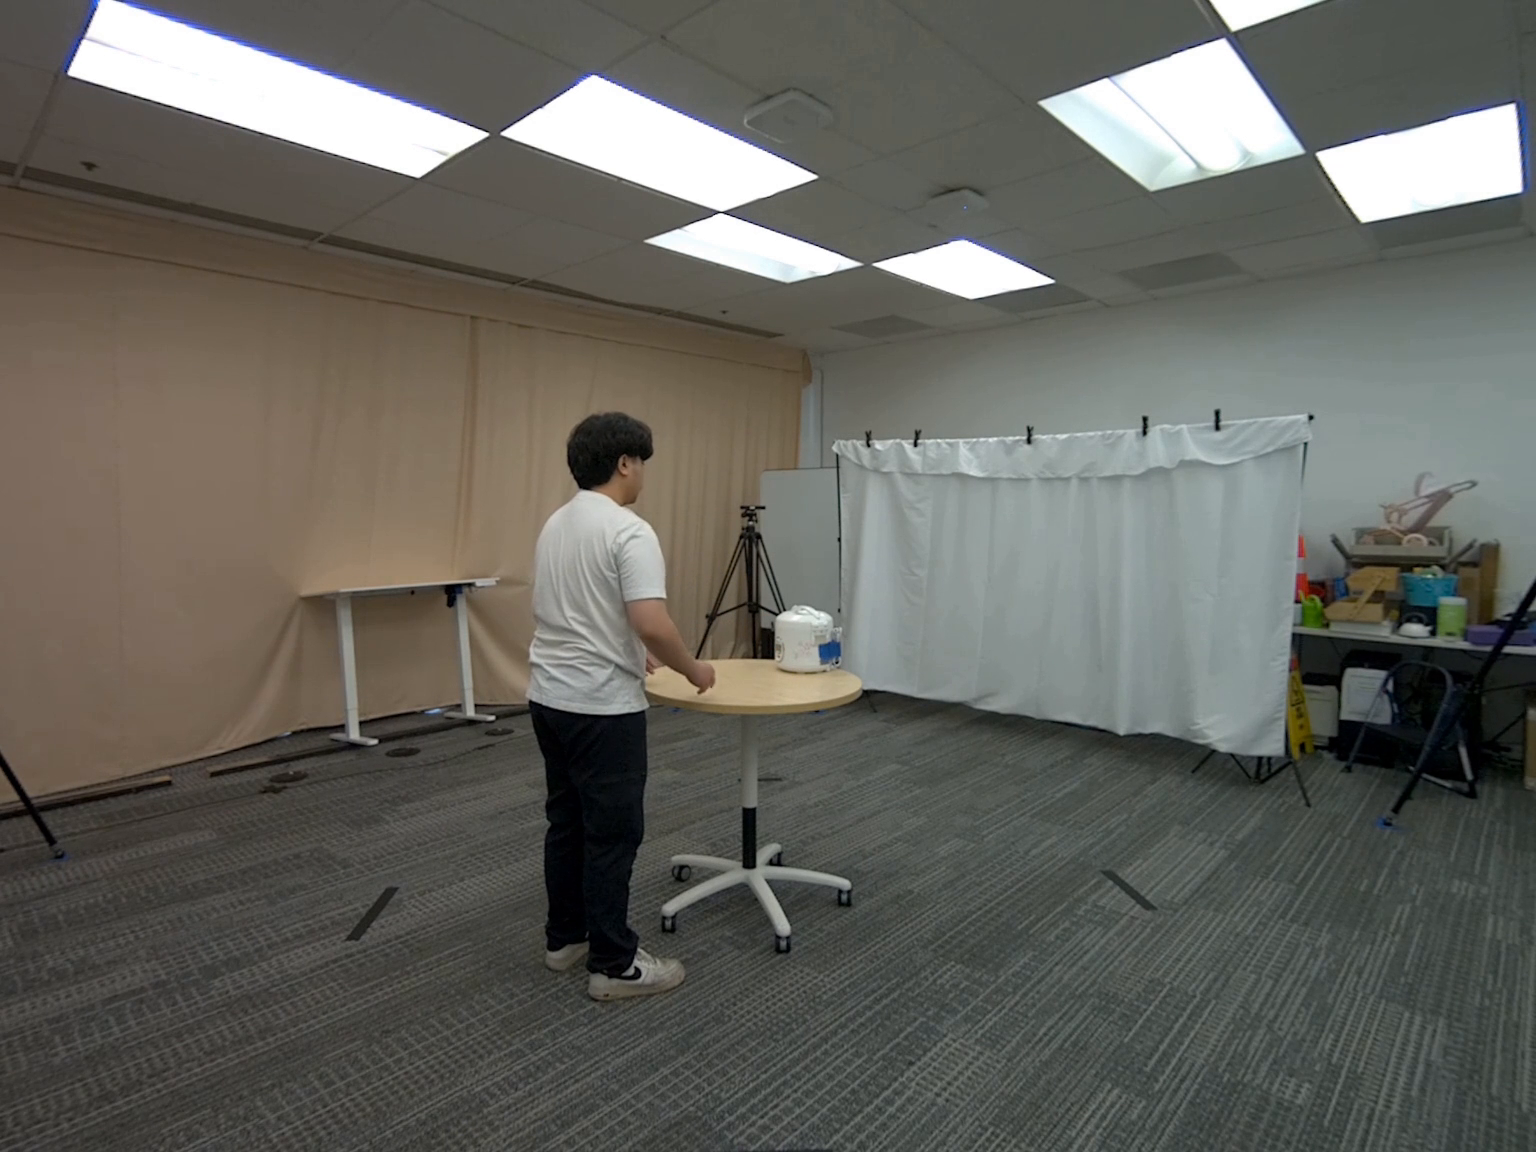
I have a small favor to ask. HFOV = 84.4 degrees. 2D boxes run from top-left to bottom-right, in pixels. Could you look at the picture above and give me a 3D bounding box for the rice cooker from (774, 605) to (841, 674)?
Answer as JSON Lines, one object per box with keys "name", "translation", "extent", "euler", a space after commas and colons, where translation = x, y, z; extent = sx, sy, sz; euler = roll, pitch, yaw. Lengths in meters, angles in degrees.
{"name": "rice cooker", "translation": [0.134, 0.226, 3.061], "extent": [0.212, 0.232, 0.227], "euler": [1, 3, -28]}
